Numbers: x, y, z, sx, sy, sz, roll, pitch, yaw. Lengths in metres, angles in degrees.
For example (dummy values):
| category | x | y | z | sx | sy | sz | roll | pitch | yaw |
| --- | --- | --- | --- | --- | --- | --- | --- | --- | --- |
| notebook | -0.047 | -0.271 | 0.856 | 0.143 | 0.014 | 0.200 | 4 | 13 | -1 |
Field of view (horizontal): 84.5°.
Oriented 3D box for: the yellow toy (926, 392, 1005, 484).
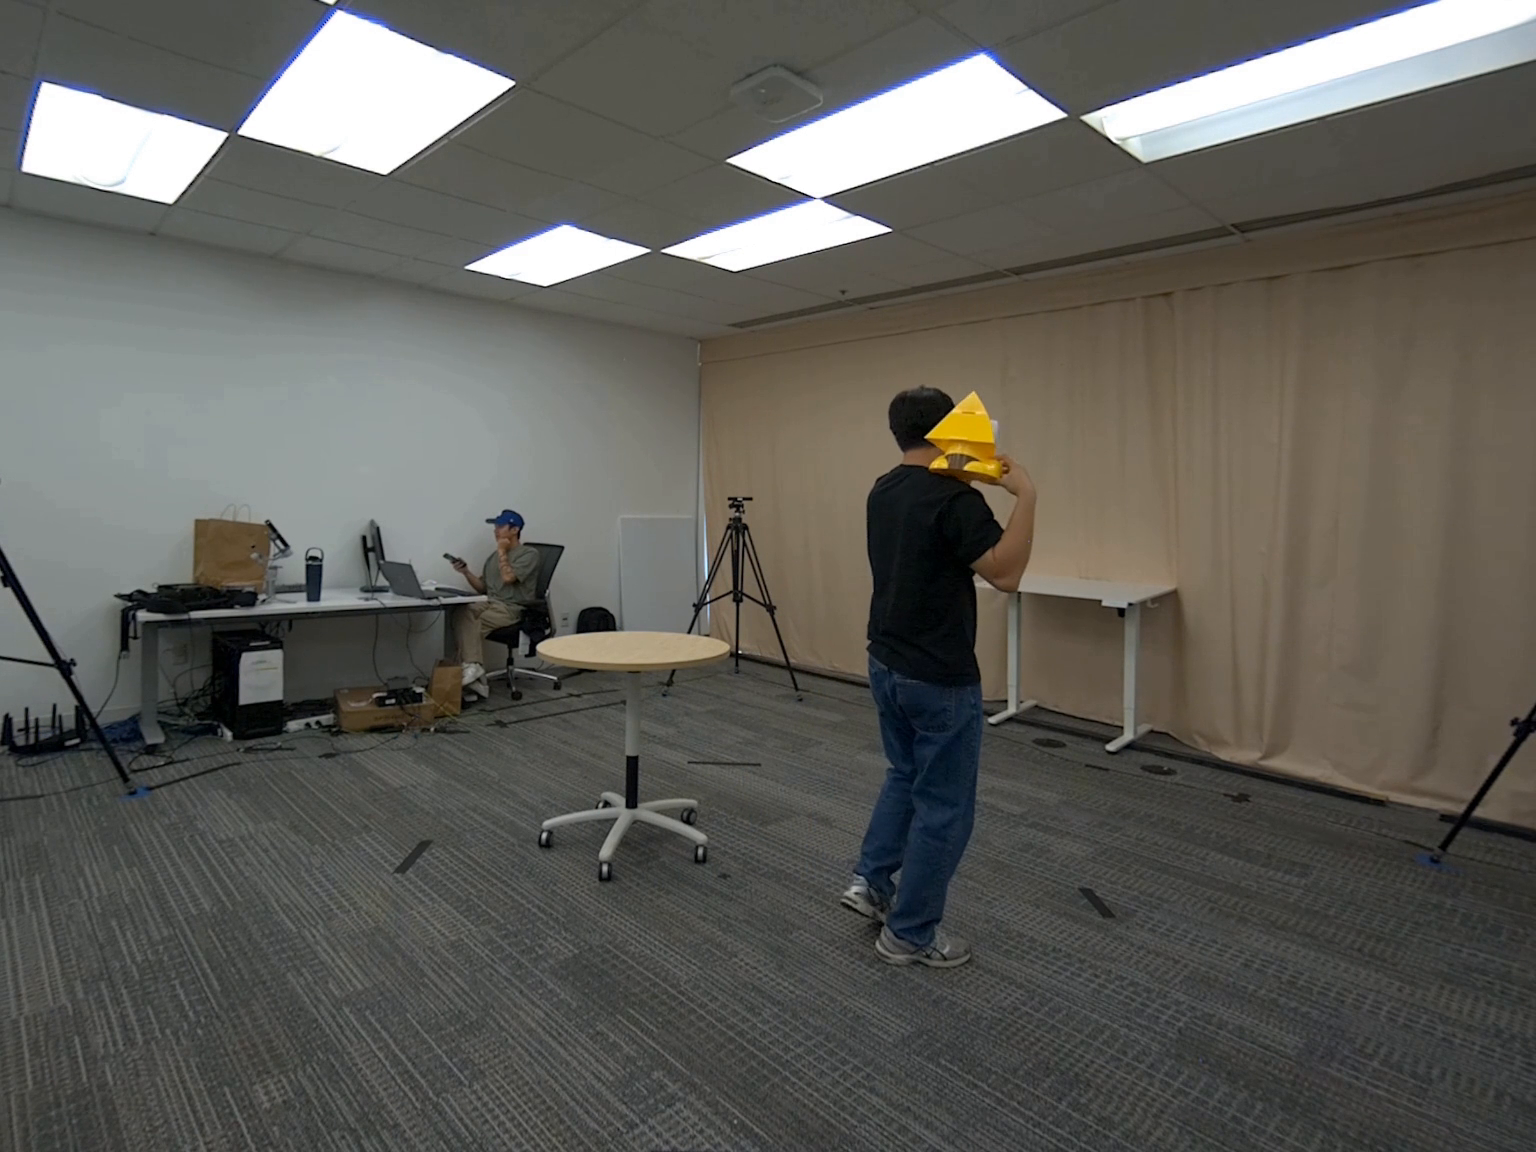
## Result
| category | x | y | z | sx | sy | sz | roll | pitch | yaw |
| --- | --- | --- | --- | --- | --- | --- | --- | --- | --- |
| yellow toy | 0.581 | -0.397 | 2.405 | 0.210 | 0.231 | 0.187 | 11 | -4 | 36 |
